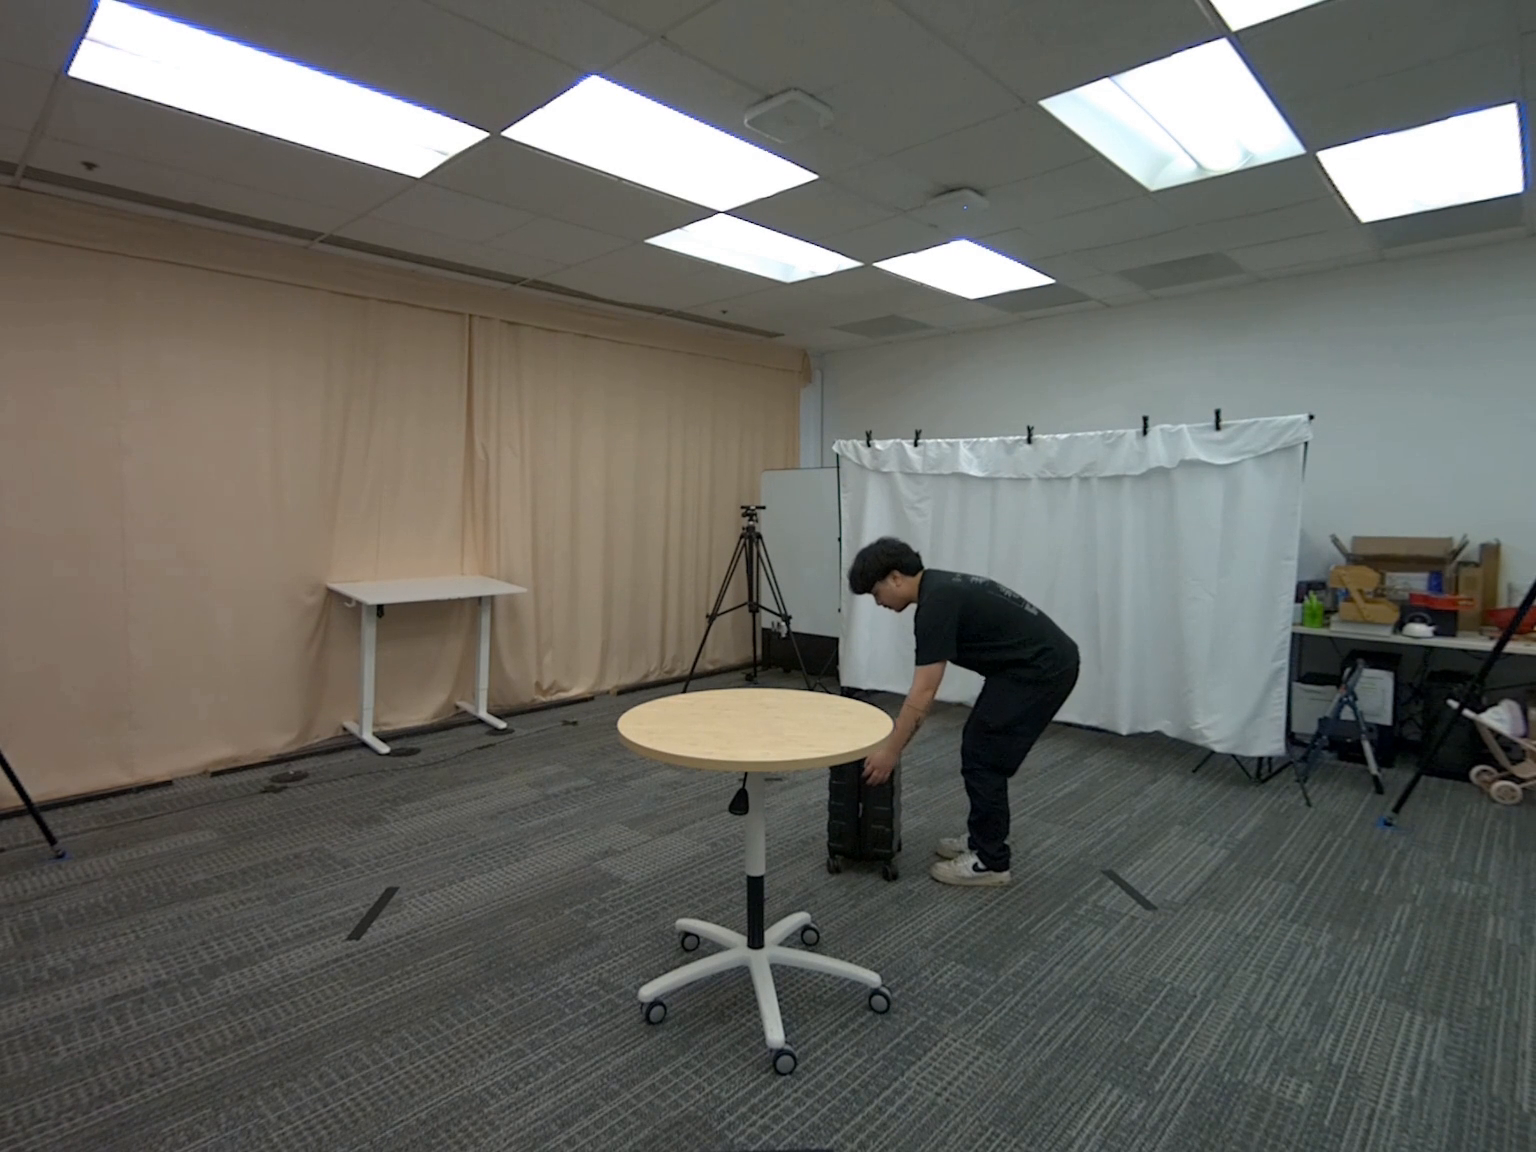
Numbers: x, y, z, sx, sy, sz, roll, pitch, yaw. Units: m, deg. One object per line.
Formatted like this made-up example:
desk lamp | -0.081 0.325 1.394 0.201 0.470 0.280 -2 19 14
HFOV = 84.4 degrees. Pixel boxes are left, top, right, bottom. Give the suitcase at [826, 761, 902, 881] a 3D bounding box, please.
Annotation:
suitcase | 0.393 0.846 3.315 0.252 0.549 0.369 1 2 14
